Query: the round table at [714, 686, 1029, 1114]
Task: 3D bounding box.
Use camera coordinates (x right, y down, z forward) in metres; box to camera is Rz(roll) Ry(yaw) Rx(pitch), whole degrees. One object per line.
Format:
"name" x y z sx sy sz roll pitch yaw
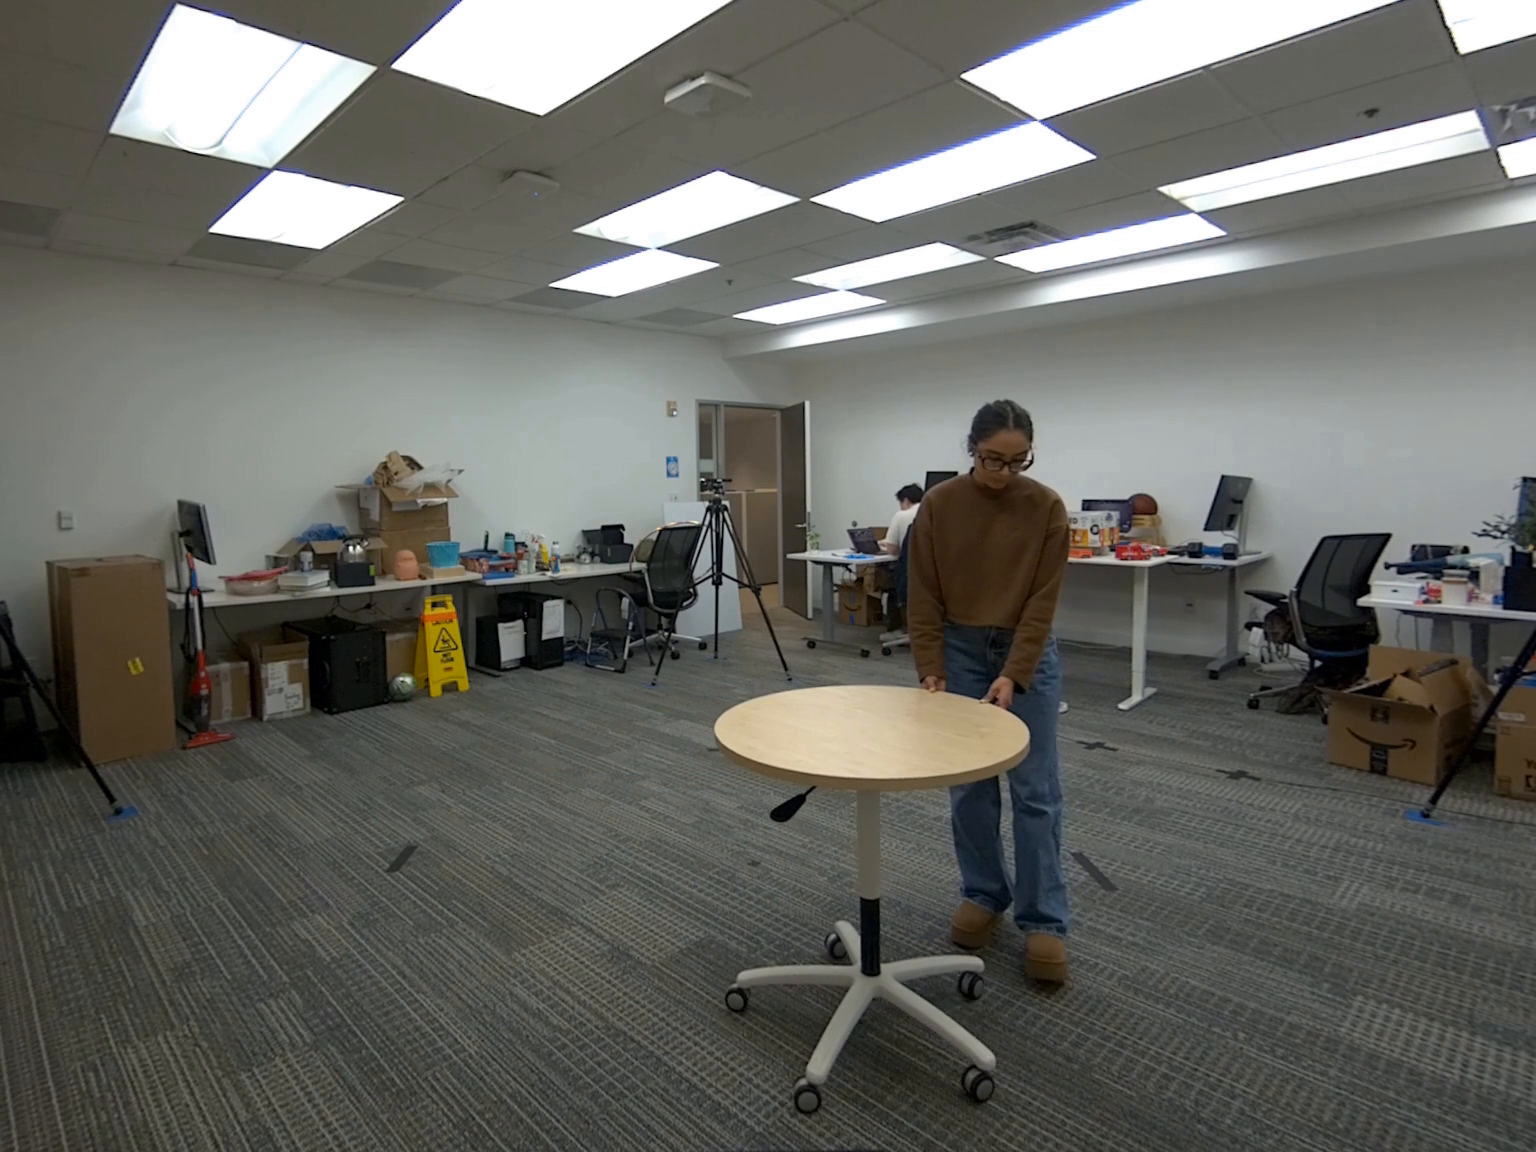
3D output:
"round table" 0.262 0.762 2.160 0.763 0.790 0.768 -2 6 -2
